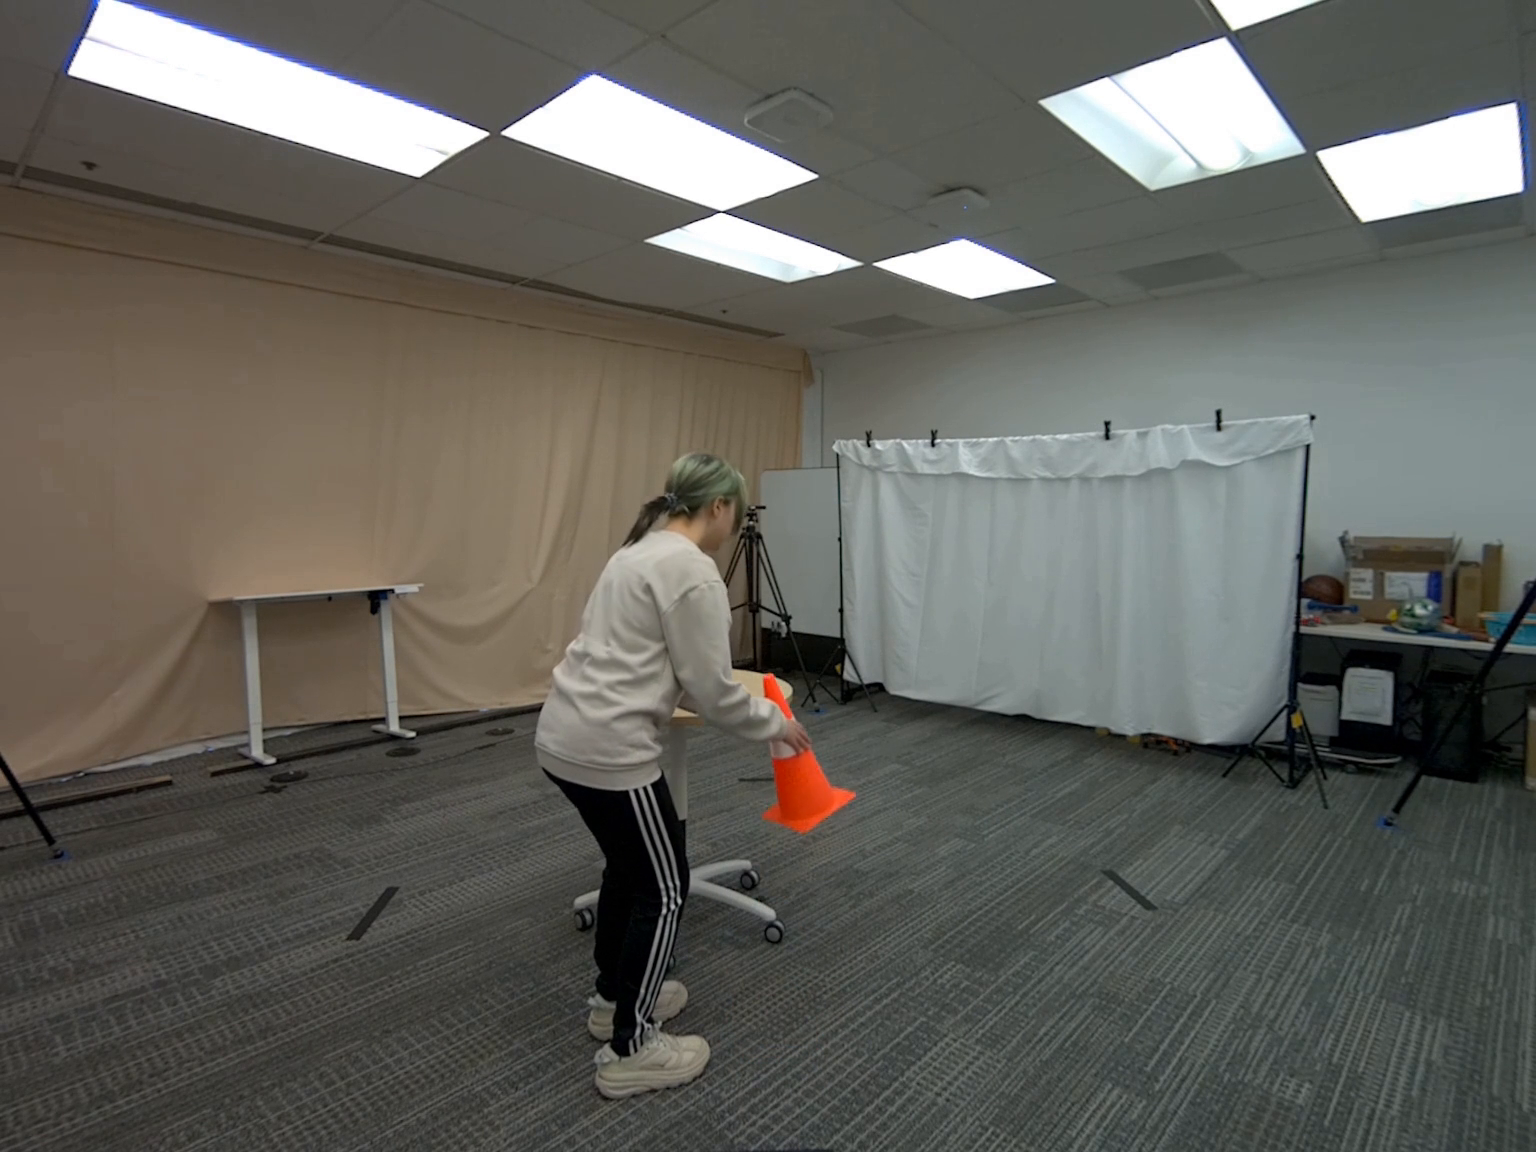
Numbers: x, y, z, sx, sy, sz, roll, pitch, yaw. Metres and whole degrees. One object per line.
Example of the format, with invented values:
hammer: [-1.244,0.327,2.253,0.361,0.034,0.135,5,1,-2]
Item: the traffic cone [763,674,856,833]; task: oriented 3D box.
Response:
traffic cone: [0.058,0.453,2.247,0.200,0.381,0.210,-20,8,-25]
